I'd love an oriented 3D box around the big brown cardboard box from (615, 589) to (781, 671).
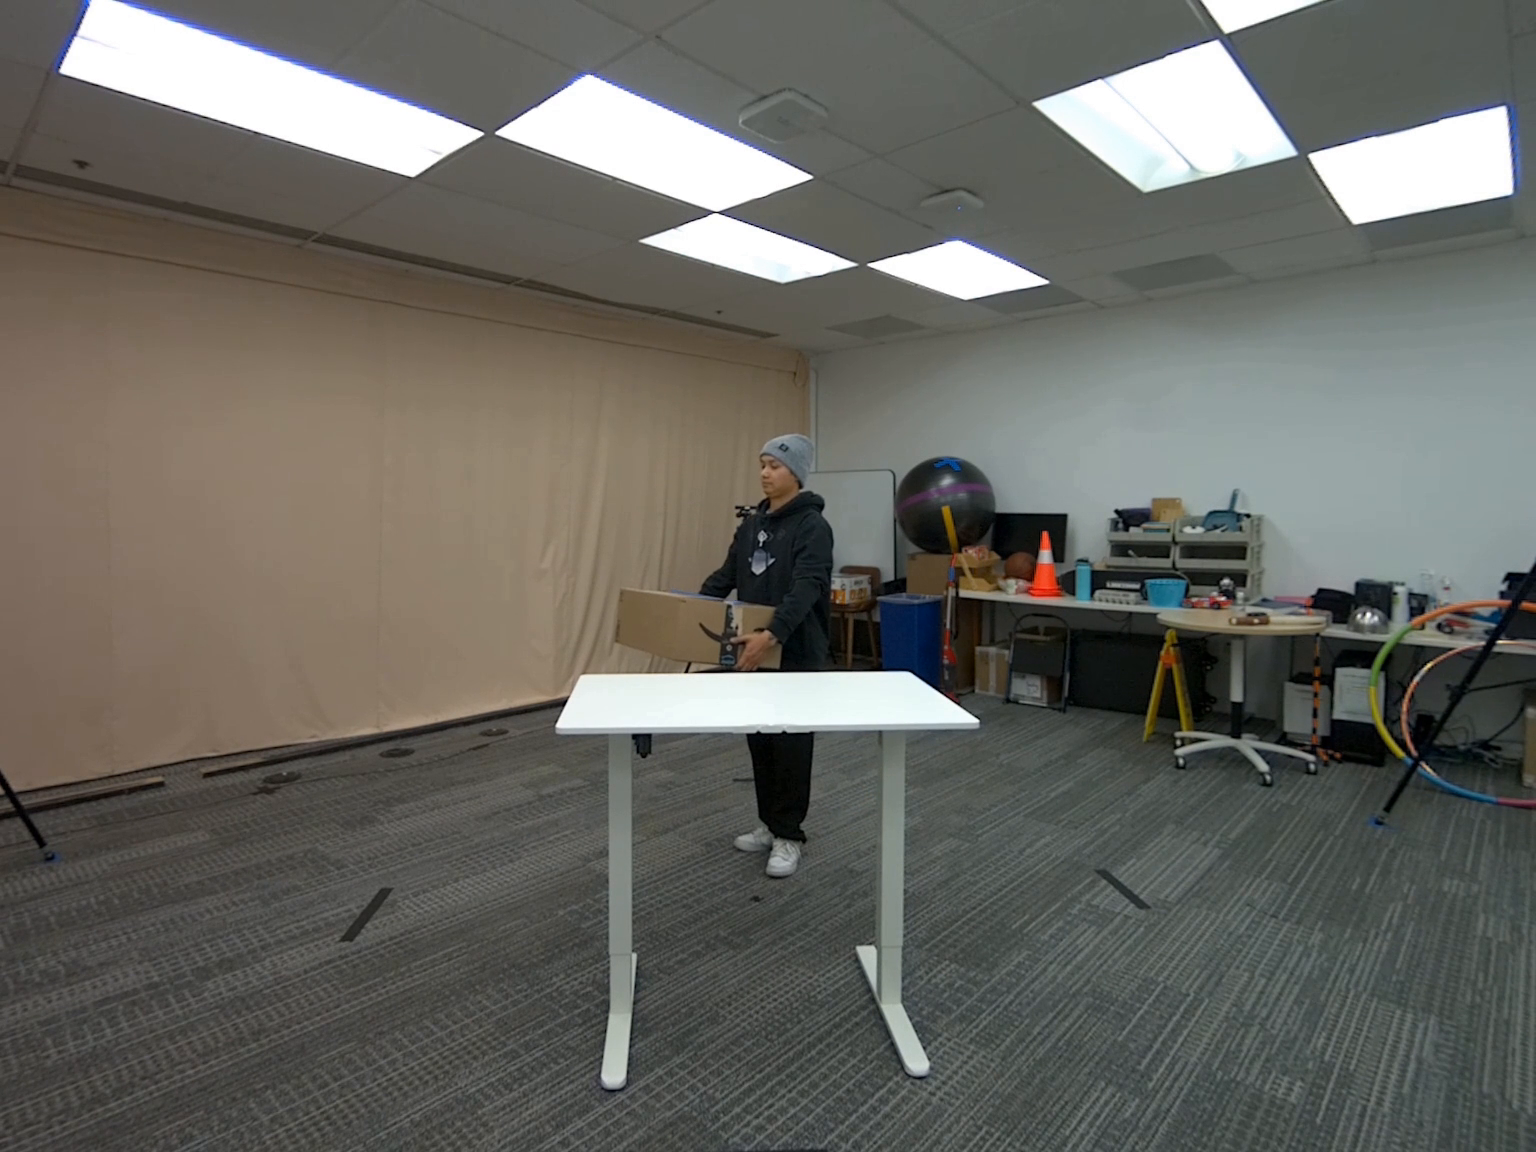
[{"bbox_3d":[-0.272,0.188,3.148,0.406,0.233,0.605,7,-1,-29],"label":"big brown cardboard box"}]
